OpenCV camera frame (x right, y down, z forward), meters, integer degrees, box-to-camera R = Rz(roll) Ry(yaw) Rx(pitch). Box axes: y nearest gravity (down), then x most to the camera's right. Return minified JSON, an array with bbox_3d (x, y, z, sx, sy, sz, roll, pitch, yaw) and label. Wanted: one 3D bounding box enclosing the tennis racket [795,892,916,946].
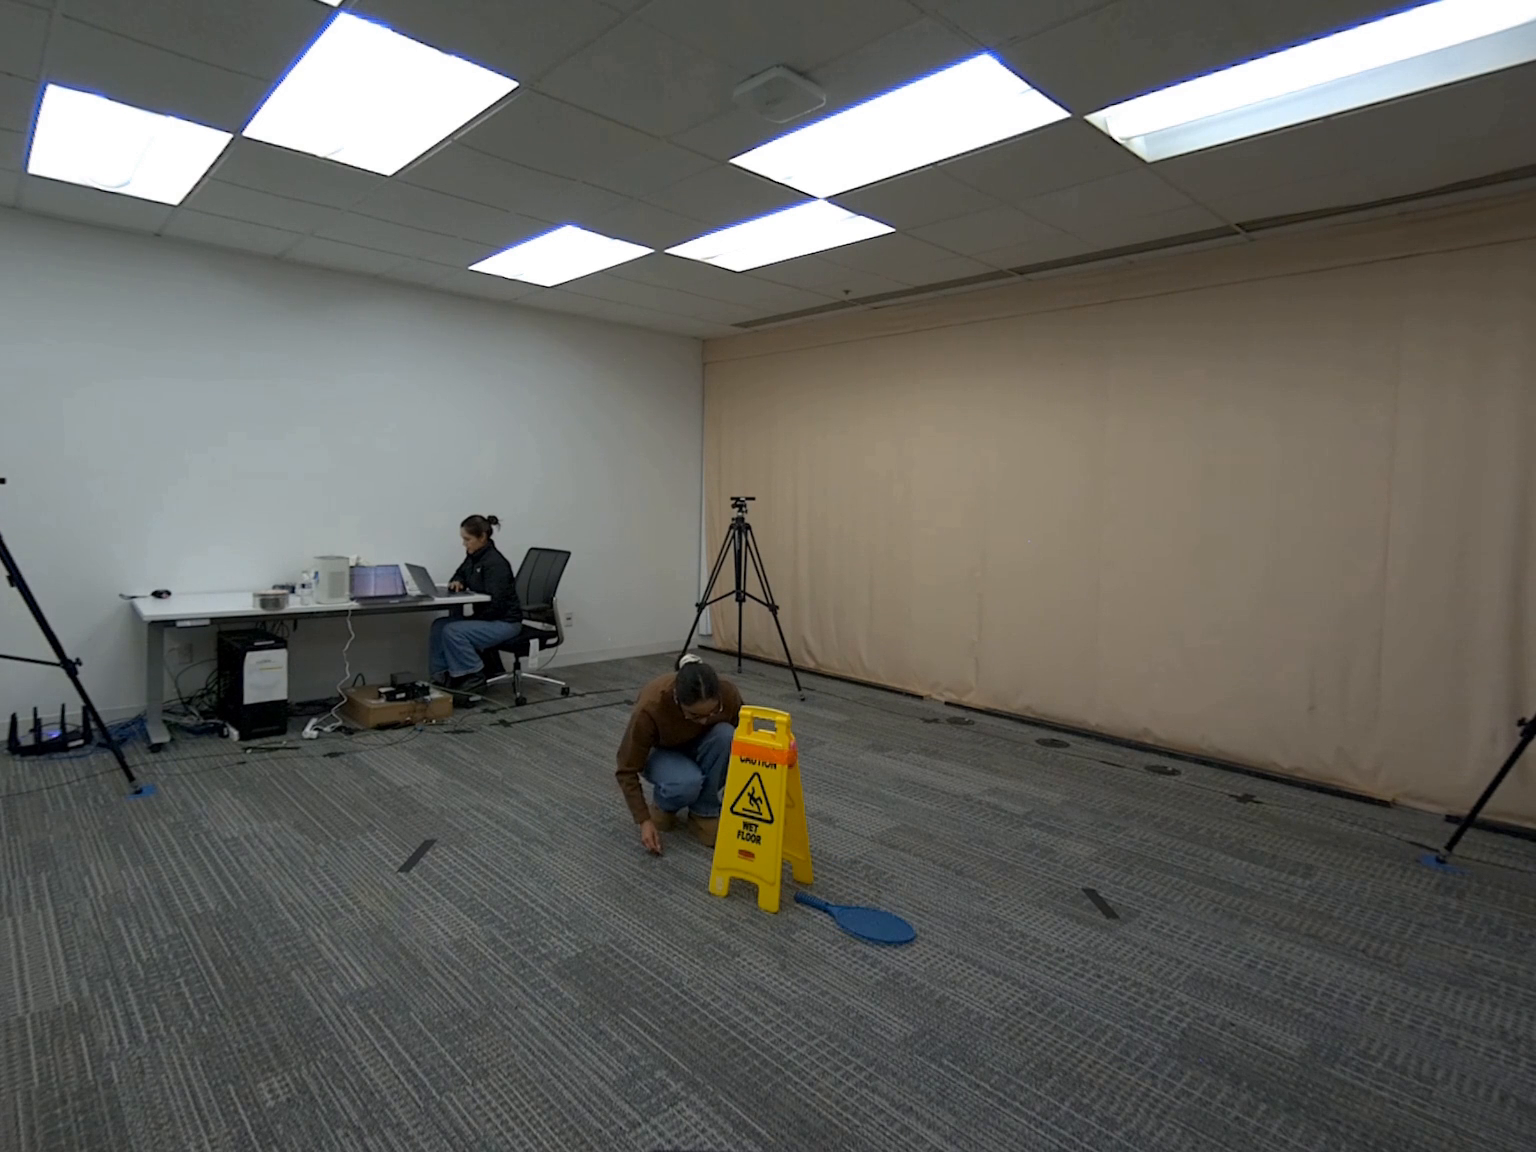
[{"bbox_3d":[0.265,1.124,2.795,0.443,0.032,0.209,6,6,36],"label":"tennis racket"}]
